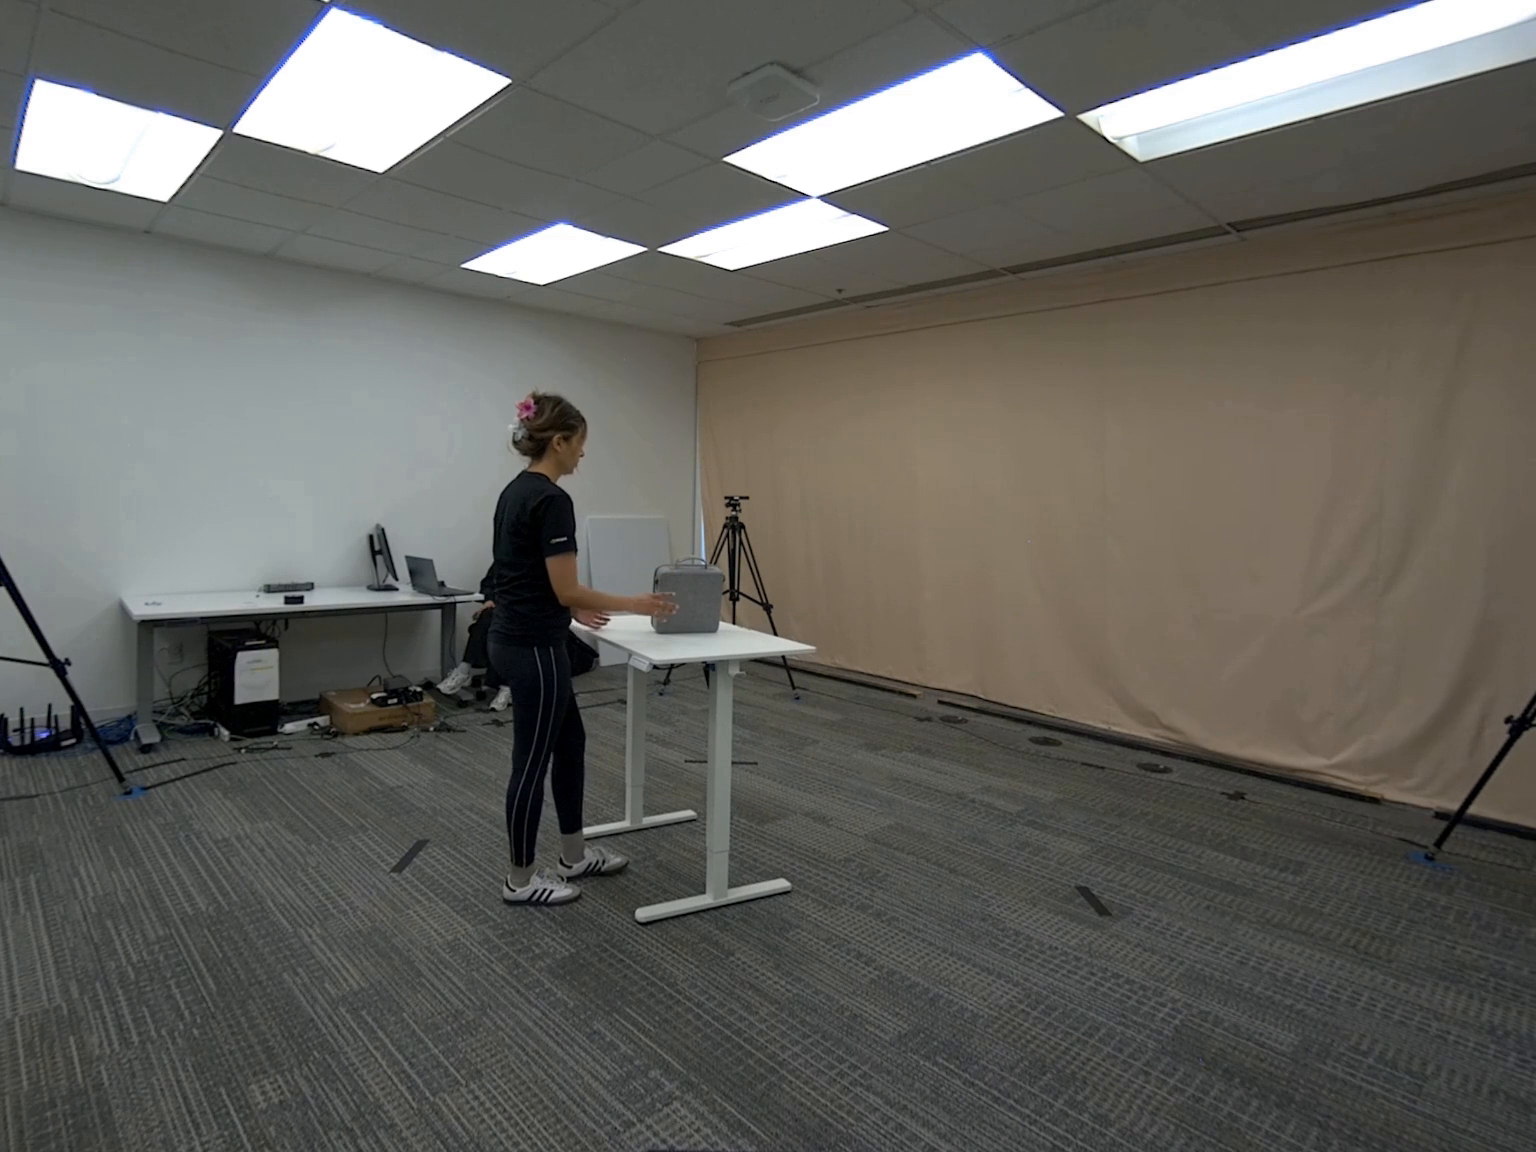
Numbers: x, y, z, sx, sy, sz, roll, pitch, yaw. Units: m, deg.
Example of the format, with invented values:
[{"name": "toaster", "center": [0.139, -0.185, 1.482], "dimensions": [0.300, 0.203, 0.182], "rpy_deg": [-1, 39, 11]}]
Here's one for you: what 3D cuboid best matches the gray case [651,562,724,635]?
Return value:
[{"name": "gray case", "center": [-0.307, 0.083, 3.144], "dimensions": [0.254, 0.258, 0.106], "rpy_deg": [1, 12, -16]}]
